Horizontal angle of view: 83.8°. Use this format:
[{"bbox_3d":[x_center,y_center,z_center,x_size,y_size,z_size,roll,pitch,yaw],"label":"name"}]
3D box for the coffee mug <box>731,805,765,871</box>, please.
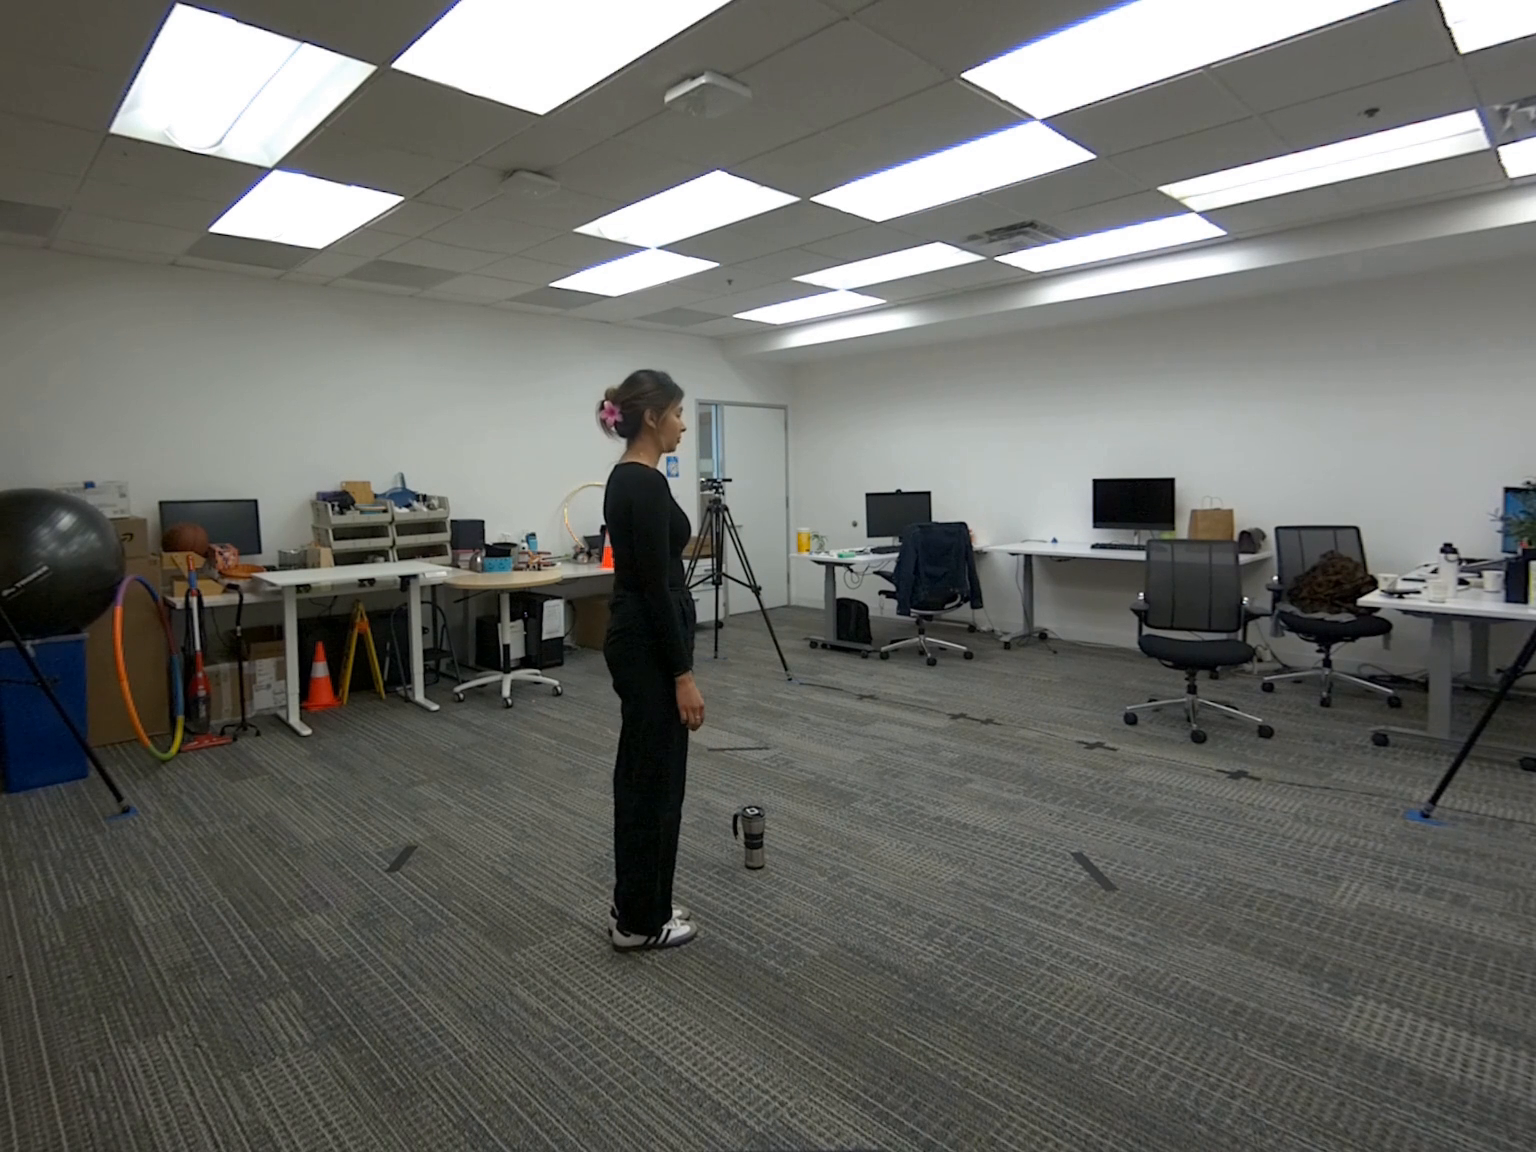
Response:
[{"bbox_3d":[-0.041,0.949,3.091,0.119,0.202,0.090,-10,4,-31],"label":"coffee mug"}]
